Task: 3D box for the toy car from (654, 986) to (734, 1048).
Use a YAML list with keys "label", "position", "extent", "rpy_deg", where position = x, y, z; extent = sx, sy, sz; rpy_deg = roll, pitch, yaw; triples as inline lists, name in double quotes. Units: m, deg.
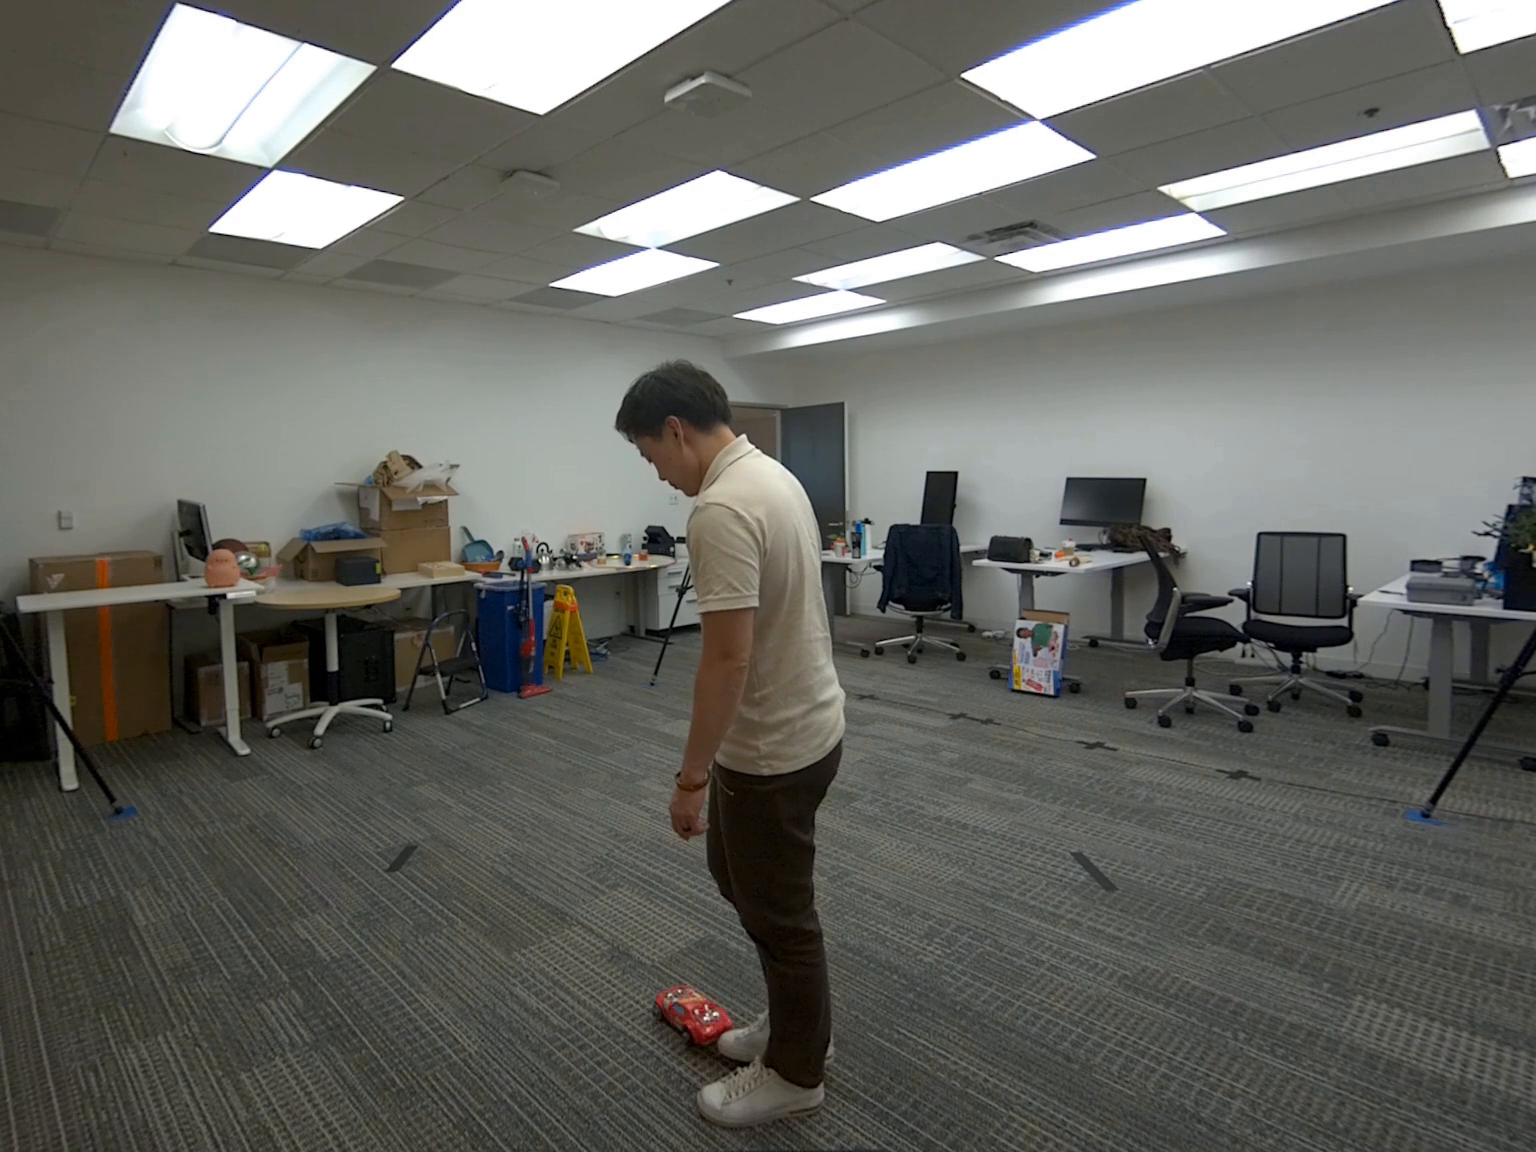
- label: "toy car"
  position: [-0.182, 1.123, 2.172]
  extent: [0.127, 0.084, 0.259]
  rpy_deg: [-6, -6, -36]
